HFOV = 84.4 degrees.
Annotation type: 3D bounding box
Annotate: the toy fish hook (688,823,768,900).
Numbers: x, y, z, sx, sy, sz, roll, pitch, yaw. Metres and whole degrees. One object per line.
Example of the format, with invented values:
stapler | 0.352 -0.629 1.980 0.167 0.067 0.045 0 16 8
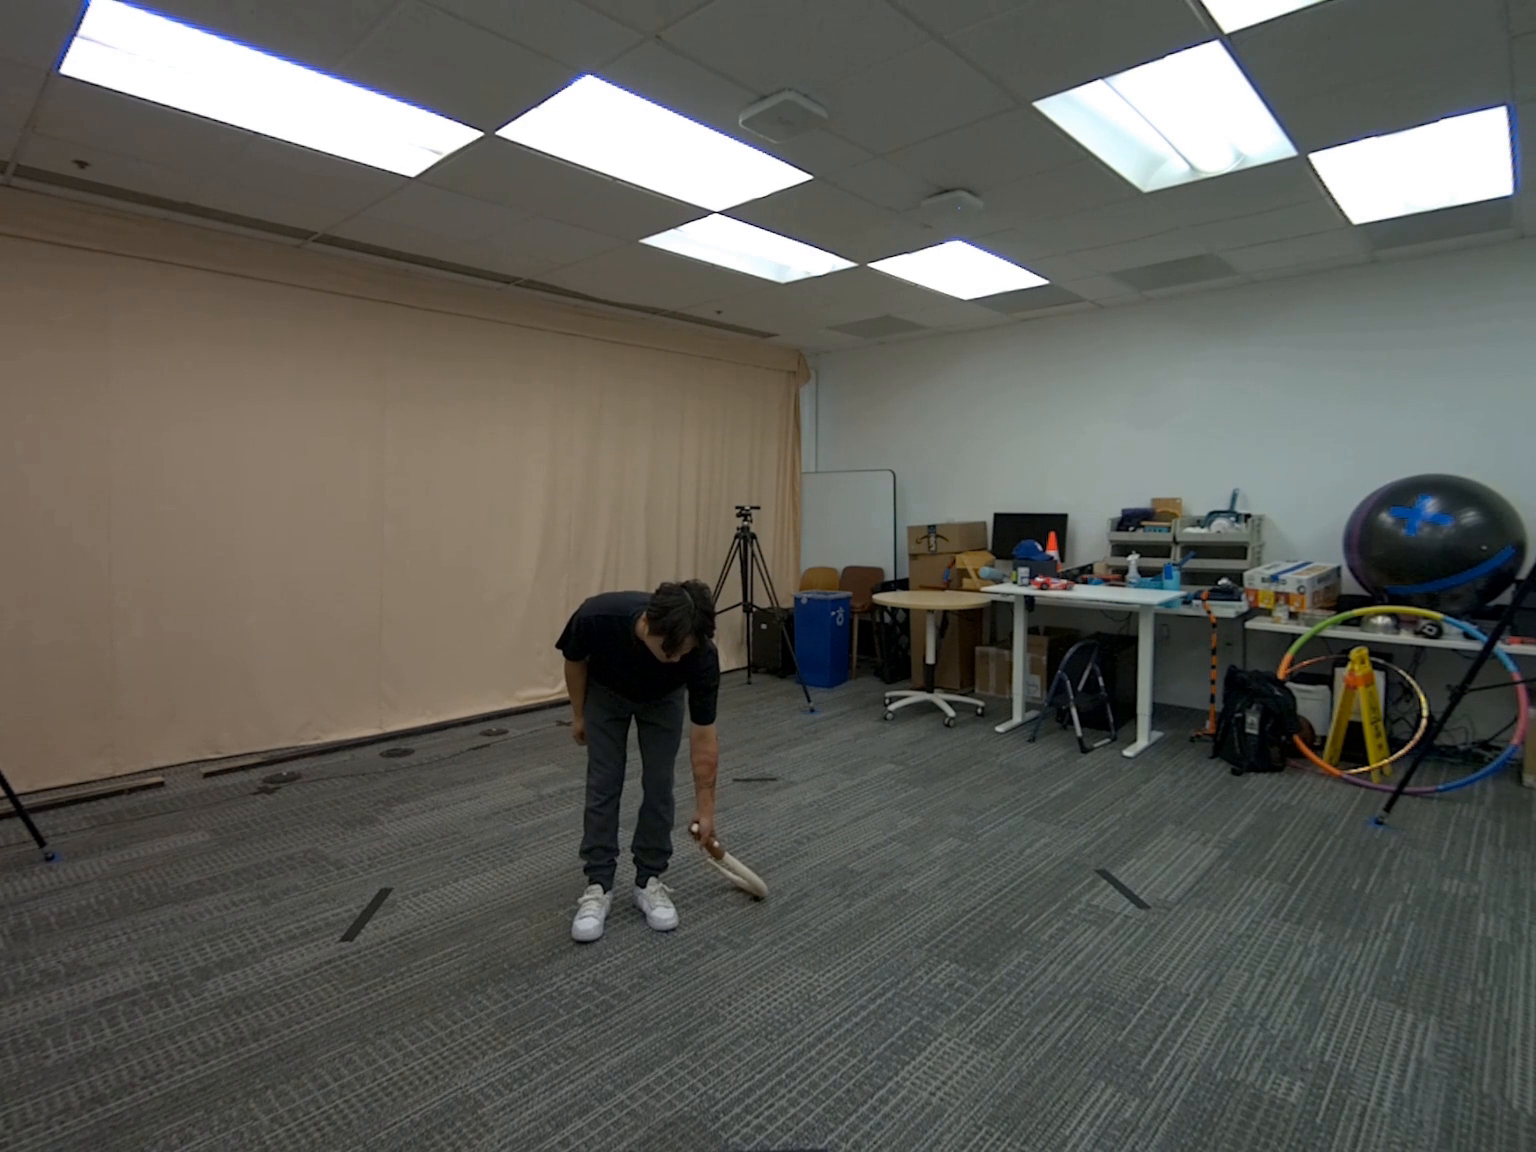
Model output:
toy fish hook | -0.175 0.982 2.907 0.231 0.048 0.491 -2 -43 39
